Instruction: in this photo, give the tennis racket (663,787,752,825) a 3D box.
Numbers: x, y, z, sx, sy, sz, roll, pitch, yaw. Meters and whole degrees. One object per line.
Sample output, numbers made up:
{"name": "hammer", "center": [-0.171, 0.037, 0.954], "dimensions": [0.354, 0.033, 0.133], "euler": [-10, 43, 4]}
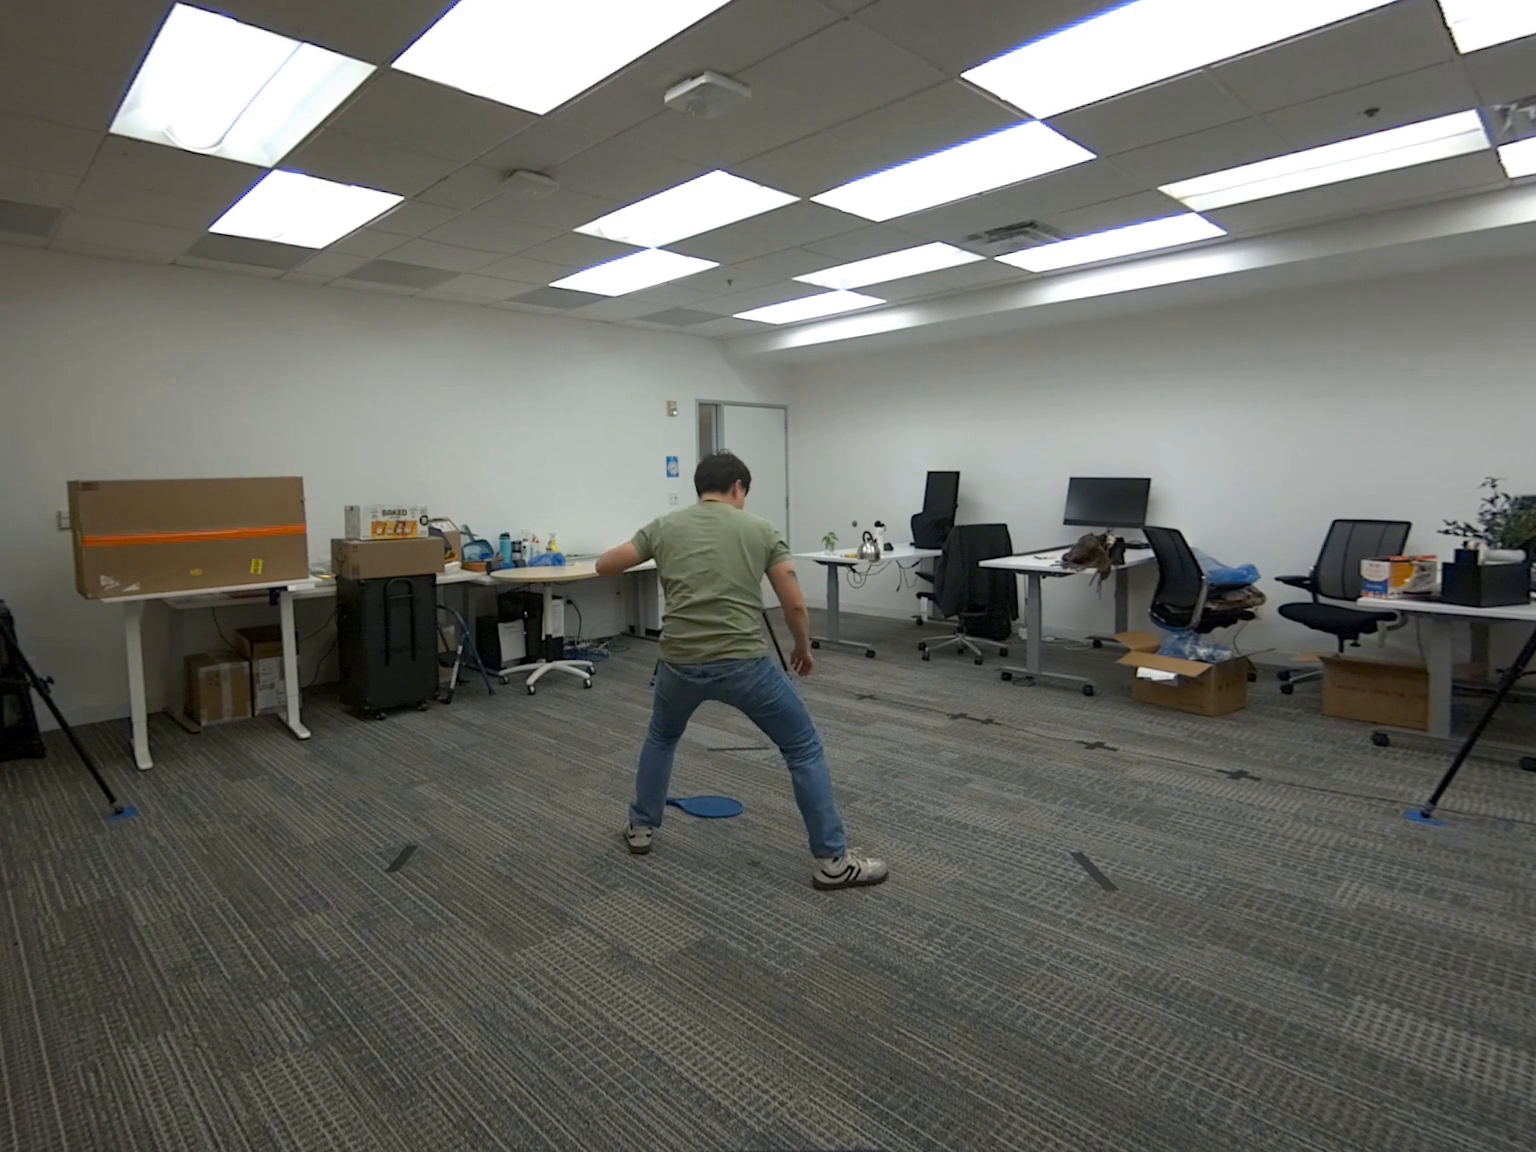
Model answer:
{"name": "tennis racket", "center": [-0.310, 0.974, 3.656], "dimensions": [0.441, 0.031, 0.211], "euler": [2, 6, 19]}
